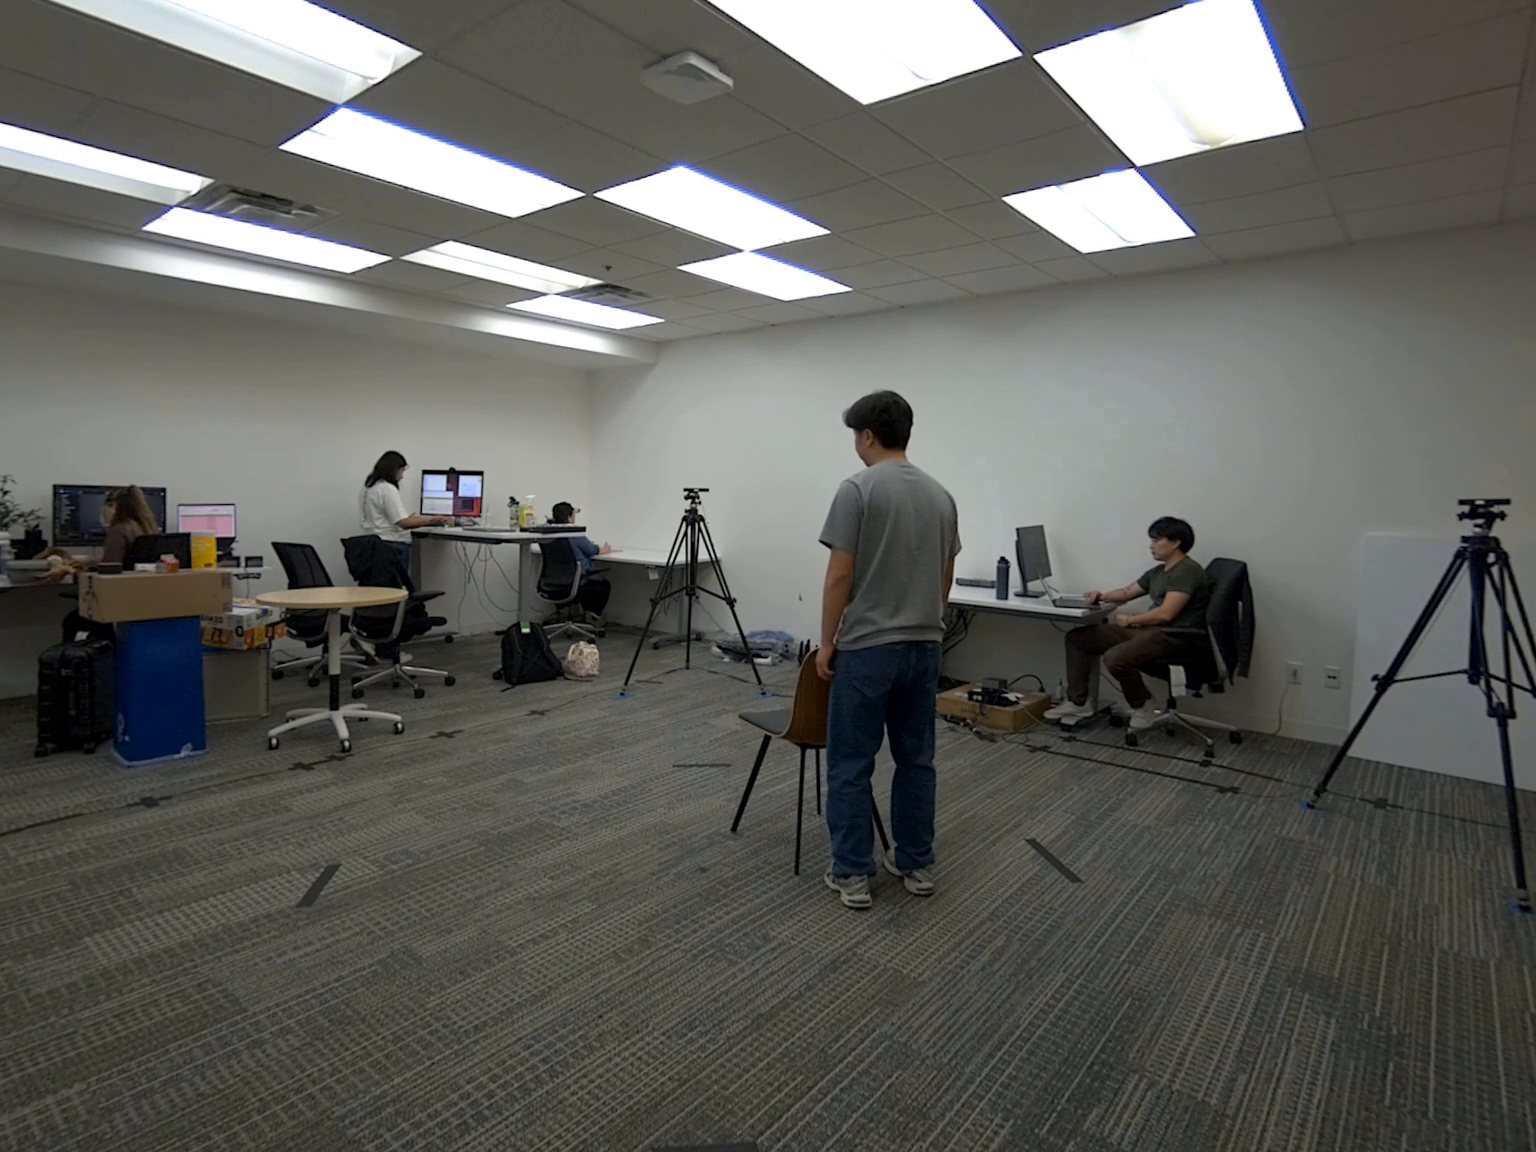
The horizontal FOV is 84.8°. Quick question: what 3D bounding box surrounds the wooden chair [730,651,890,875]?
[{"bbox_3d":[0.149,0.623,3.360,0.465,0.872,0.541,-1,9,-32],"label":"wooden chair"}]
